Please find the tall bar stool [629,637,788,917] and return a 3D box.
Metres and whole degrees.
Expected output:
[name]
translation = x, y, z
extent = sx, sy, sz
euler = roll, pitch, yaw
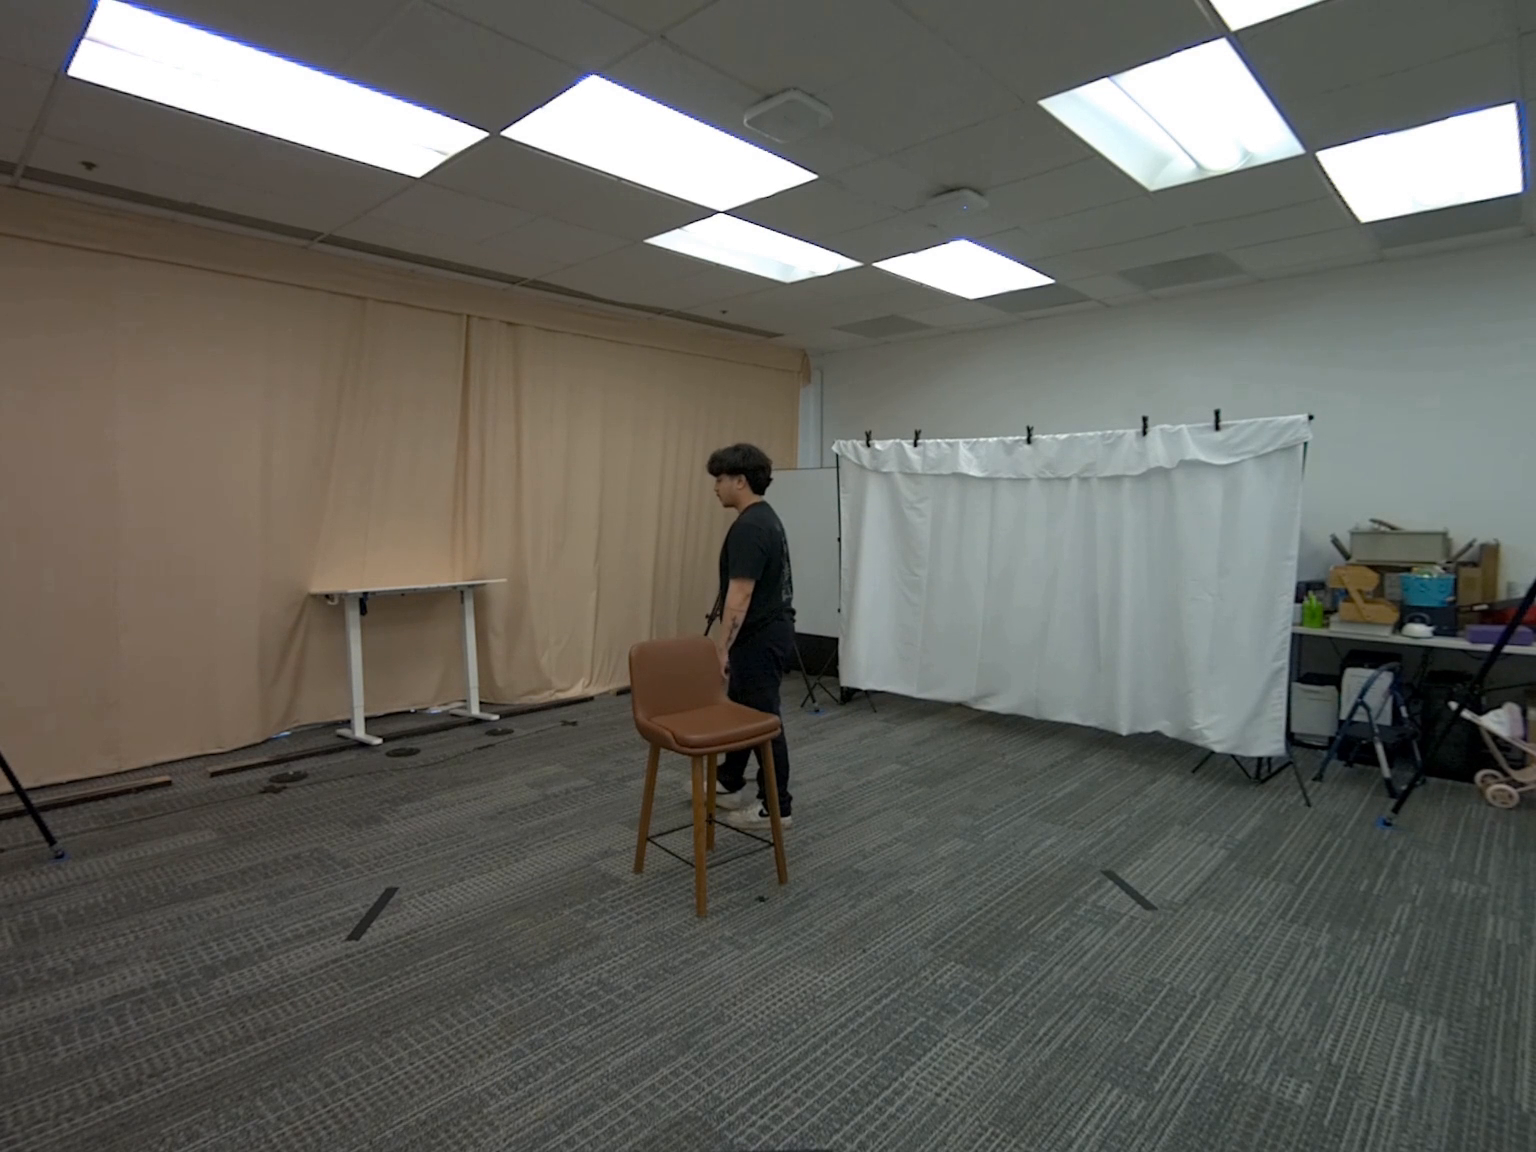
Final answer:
[tall bar stool]
translation = -0.239, 0.705, 3.123
extent = 0.443, 0.889, 0.482
euler = -3, 2, -39
